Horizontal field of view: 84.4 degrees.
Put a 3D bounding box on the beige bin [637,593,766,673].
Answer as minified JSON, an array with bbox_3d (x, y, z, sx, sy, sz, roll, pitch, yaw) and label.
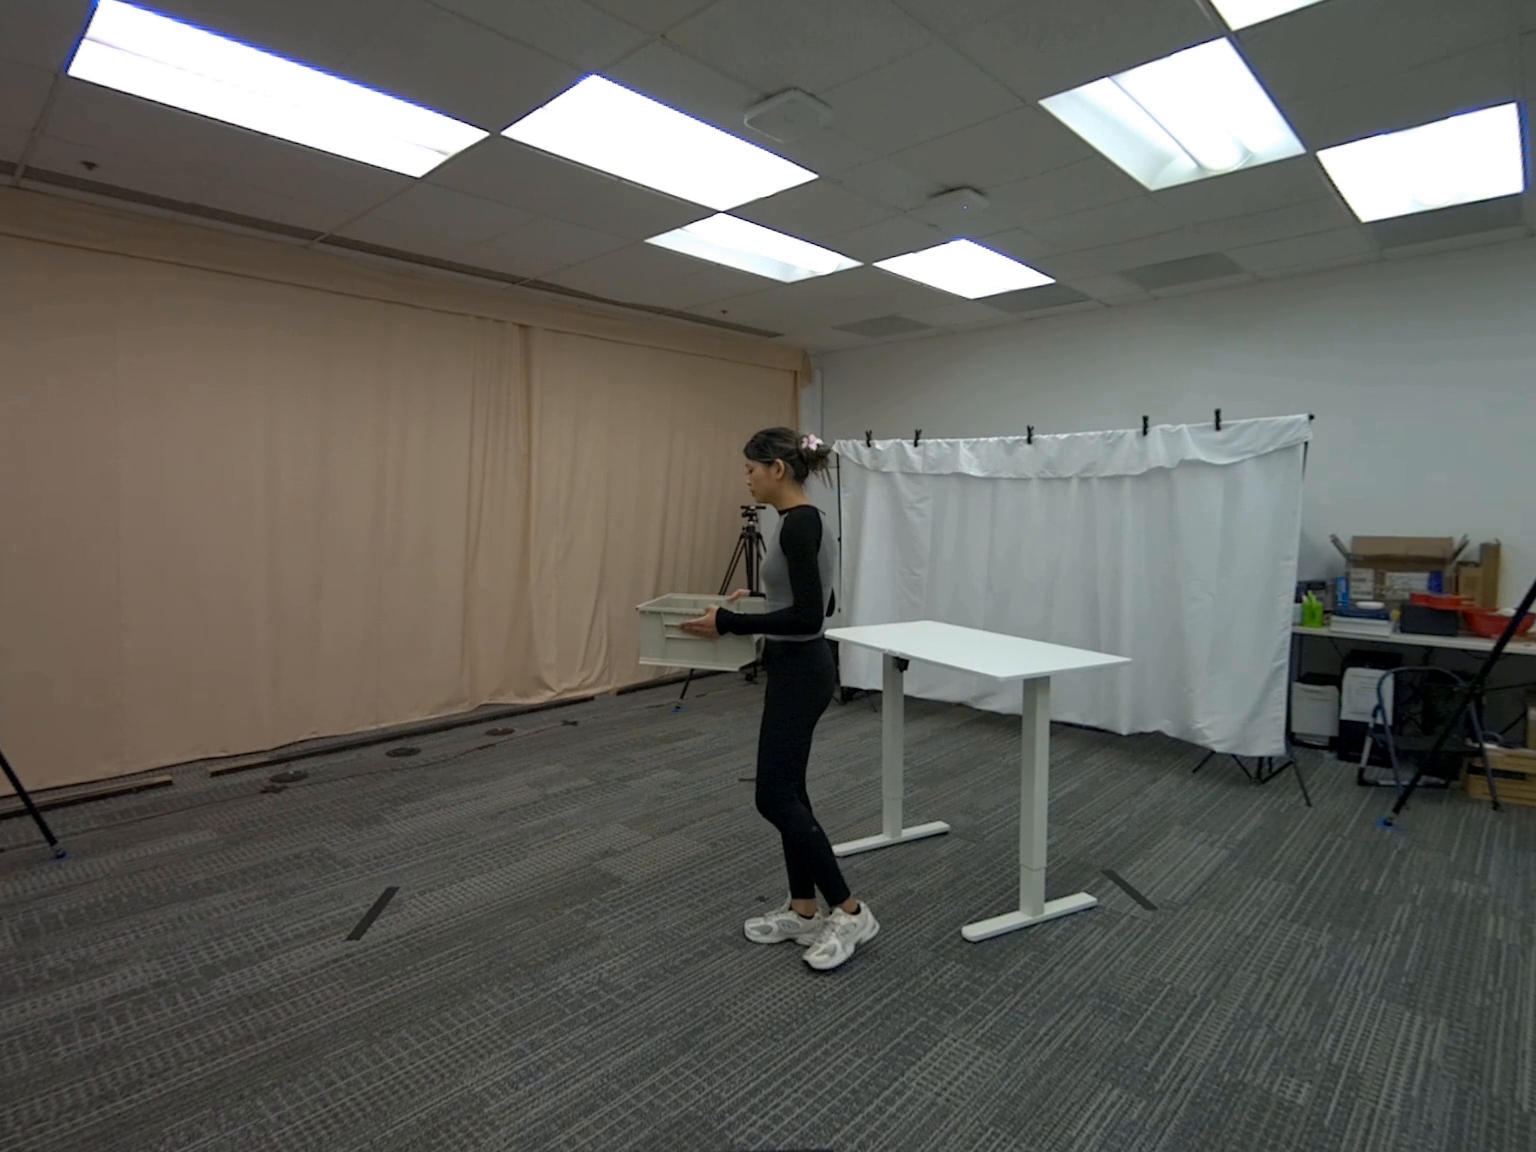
[{"bbox_3d":[-0.186,0.177,2.755,0.381,0.188,0.419,0,4,8],"label":"beige bin"}]
